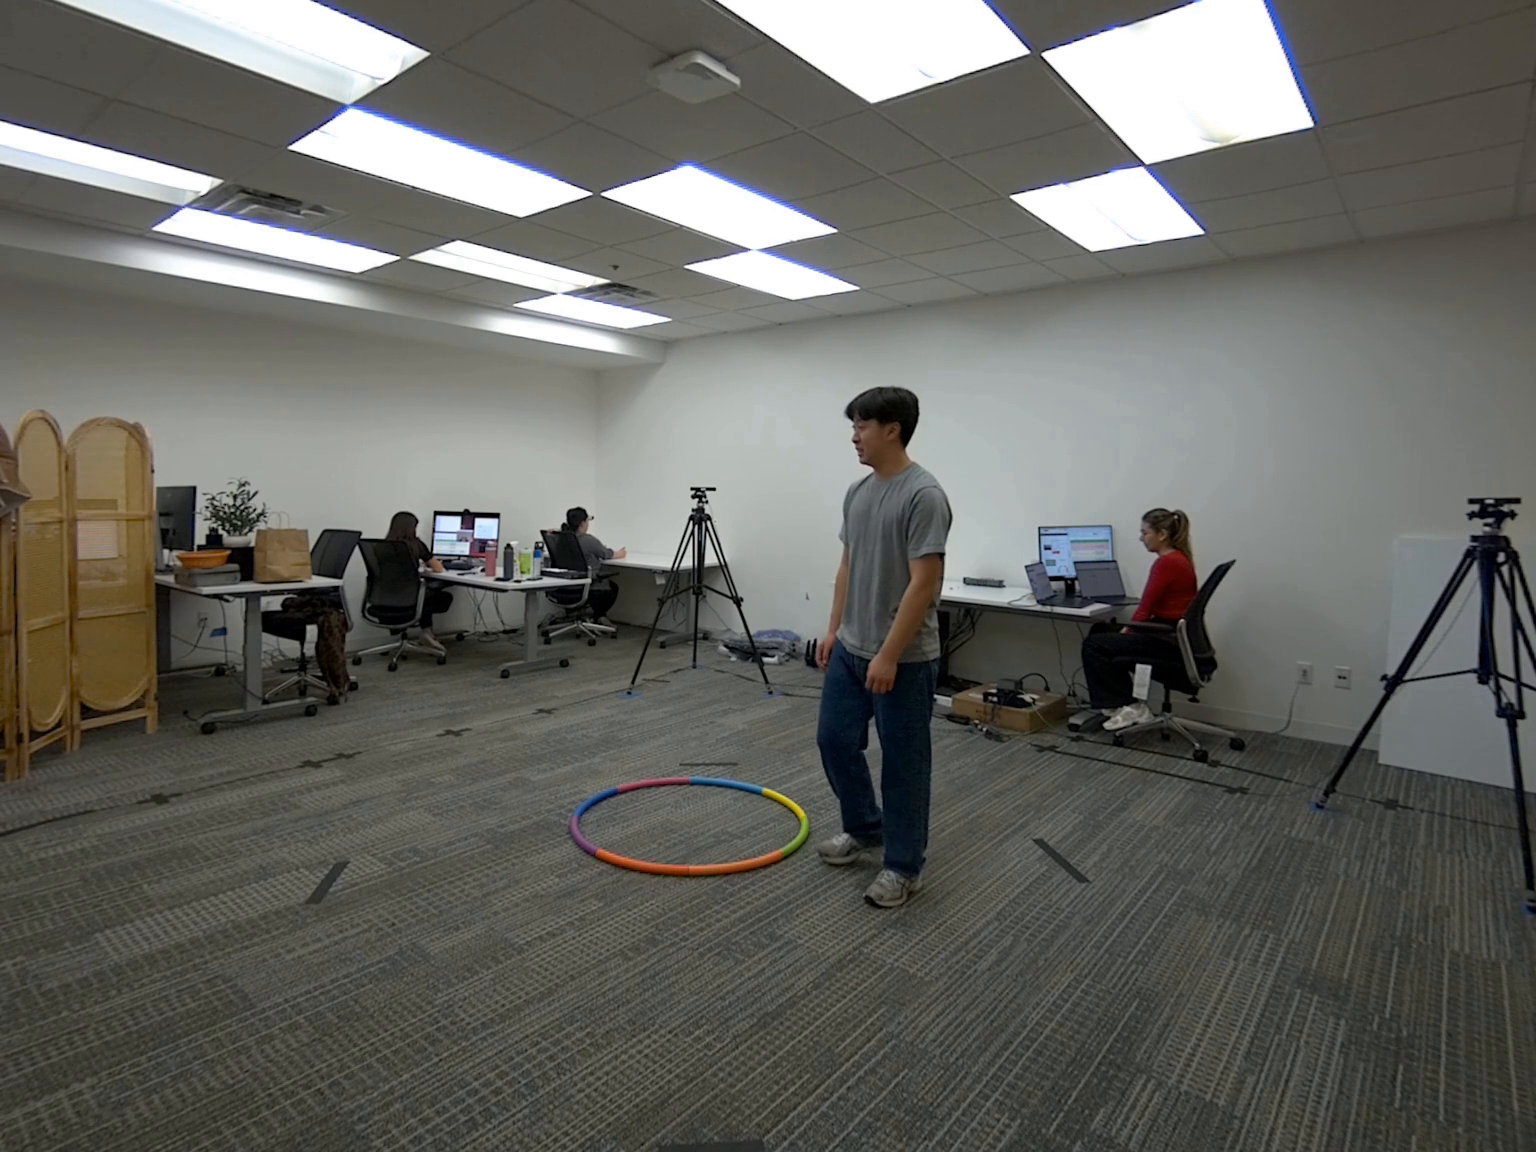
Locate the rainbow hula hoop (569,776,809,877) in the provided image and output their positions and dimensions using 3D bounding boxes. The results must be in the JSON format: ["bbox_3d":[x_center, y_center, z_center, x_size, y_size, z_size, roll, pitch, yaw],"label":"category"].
[{"bbox_3d":[-0.334,0.991,3.513,0.978,0.035,0.984,1,6,-2],"label":"rainbow hula hoop"}]
